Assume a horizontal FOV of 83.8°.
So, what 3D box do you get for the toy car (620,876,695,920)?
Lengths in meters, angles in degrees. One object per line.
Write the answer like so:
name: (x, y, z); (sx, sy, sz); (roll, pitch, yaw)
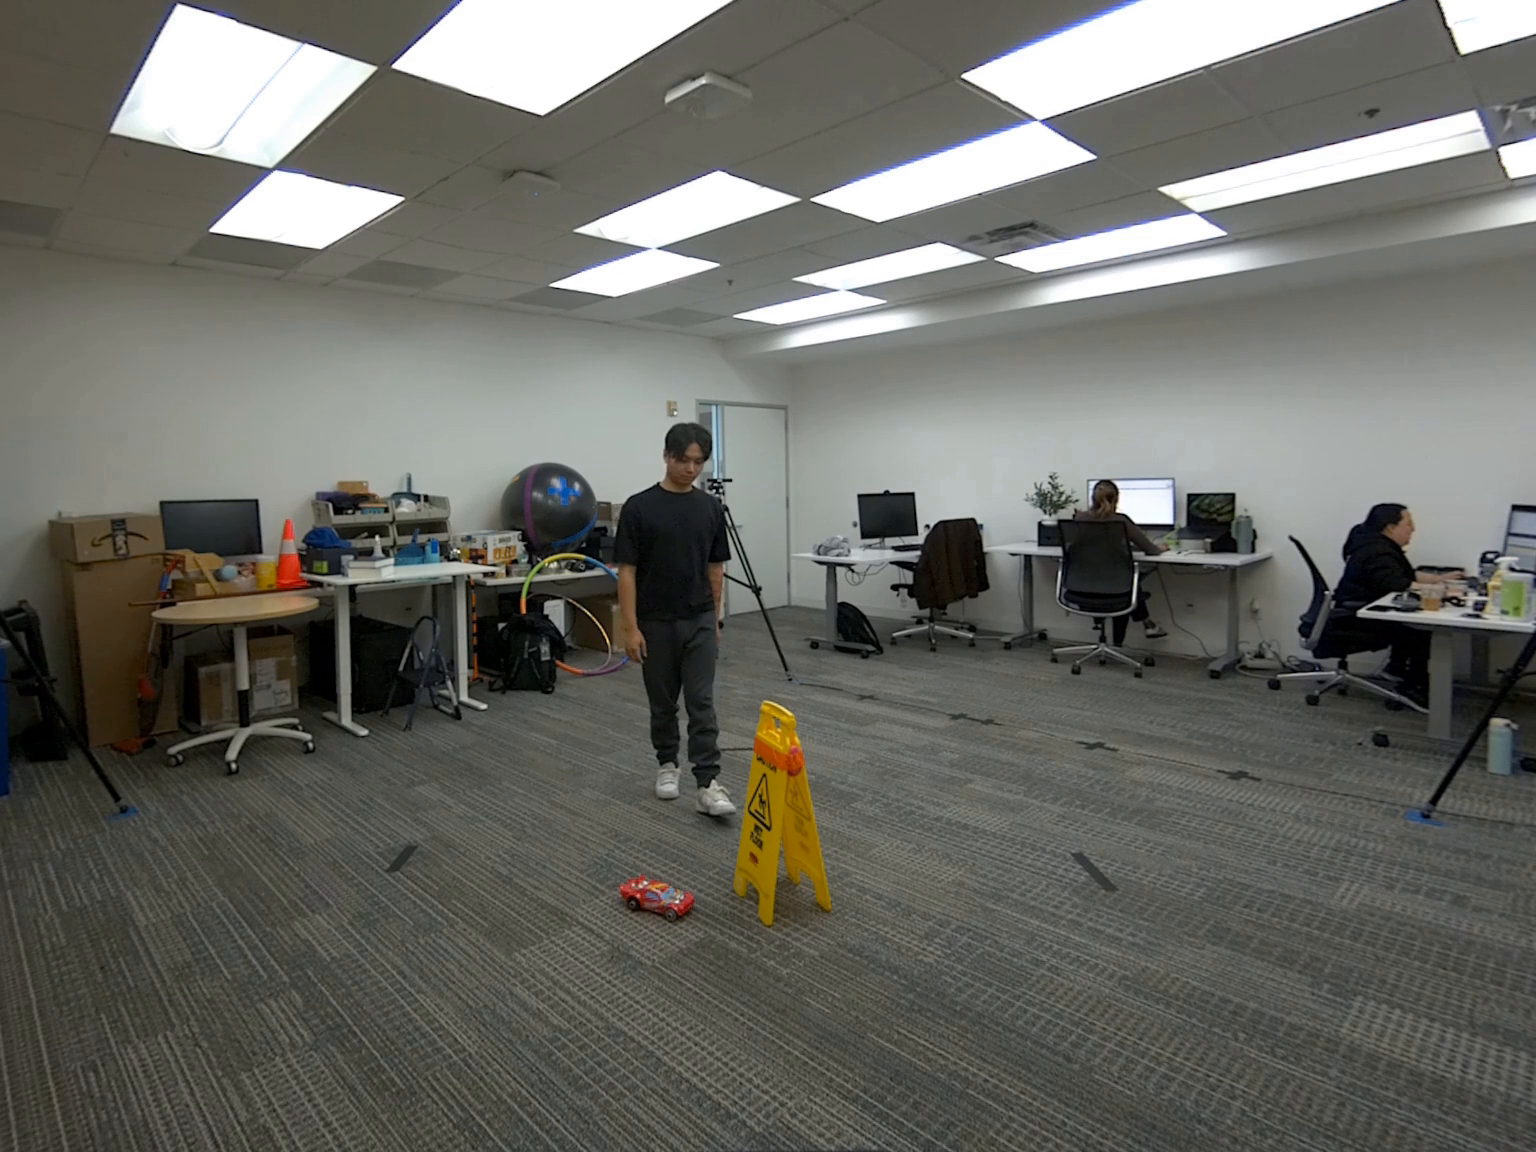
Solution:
toy car: (-0.366, 1.061, 2.800); (0.262, 0.082, 0.128); (14, 14, 27)
